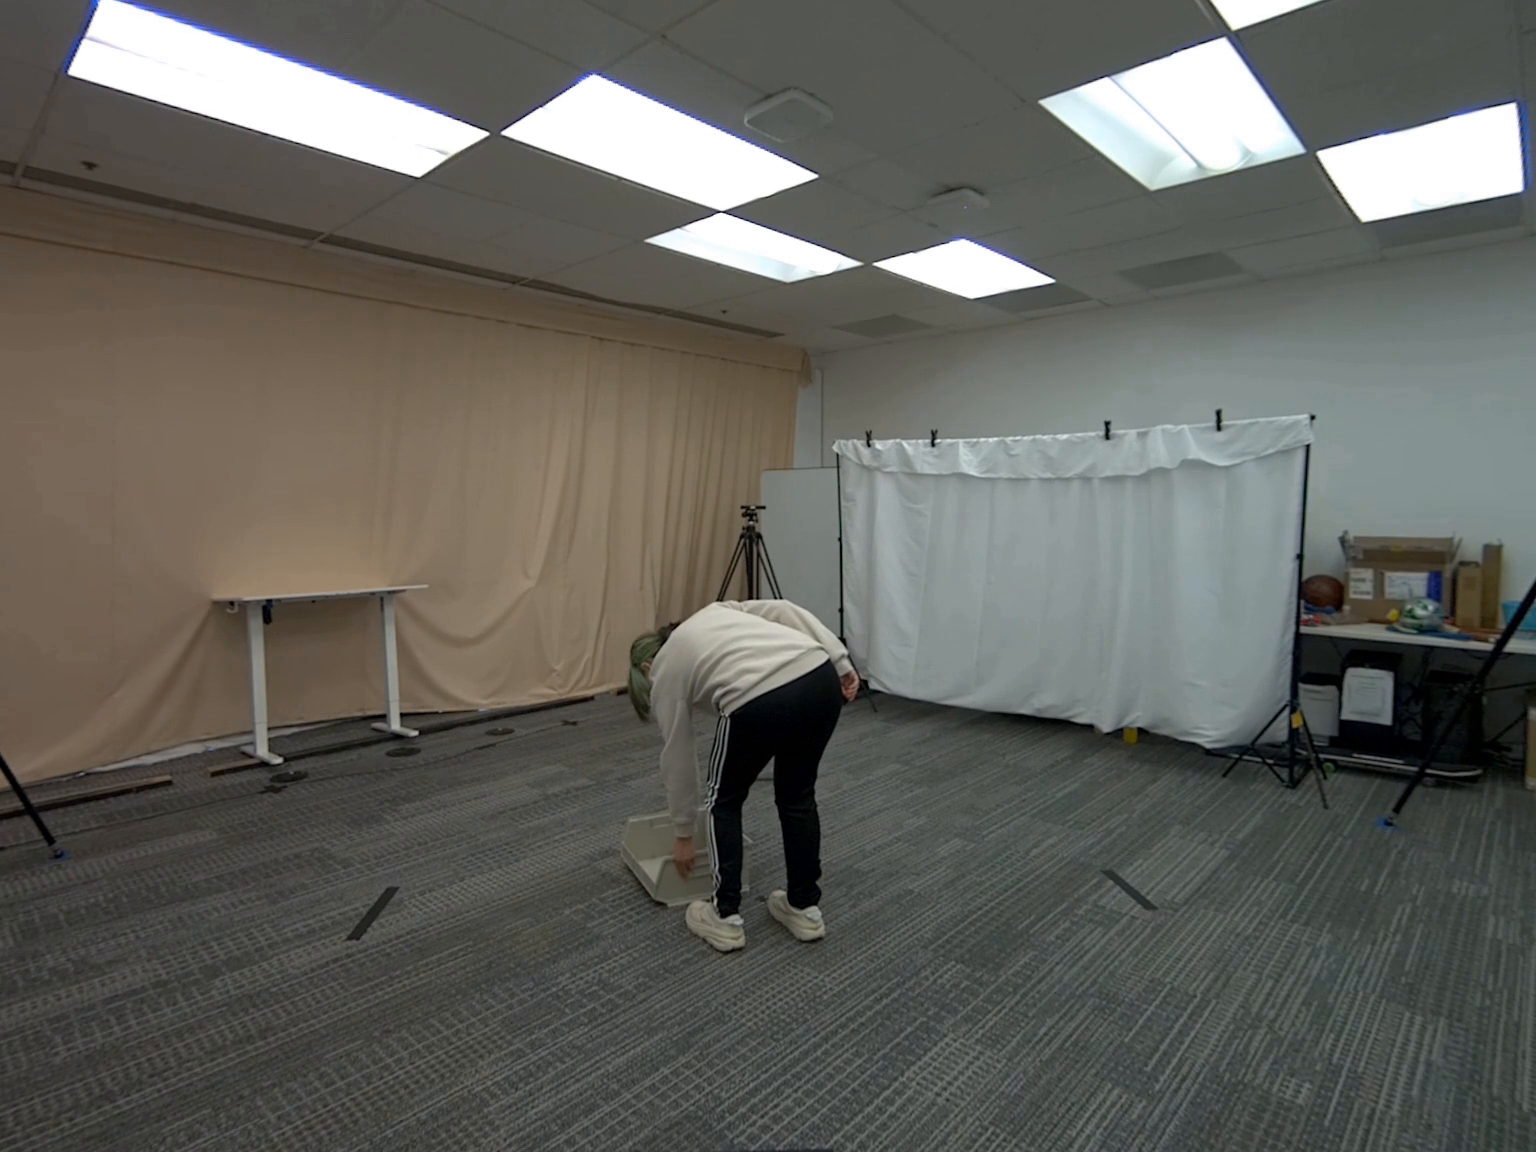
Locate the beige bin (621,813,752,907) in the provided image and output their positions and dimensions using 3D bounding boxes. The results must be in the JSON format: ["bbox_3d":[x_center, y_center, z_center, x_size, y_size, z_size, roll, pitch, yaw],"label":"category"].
[{"bbox_3d":[-0.316,1.041,3.156,0.368,0.188,0.433,-2,4,-25],"label":"beige bin"}]
